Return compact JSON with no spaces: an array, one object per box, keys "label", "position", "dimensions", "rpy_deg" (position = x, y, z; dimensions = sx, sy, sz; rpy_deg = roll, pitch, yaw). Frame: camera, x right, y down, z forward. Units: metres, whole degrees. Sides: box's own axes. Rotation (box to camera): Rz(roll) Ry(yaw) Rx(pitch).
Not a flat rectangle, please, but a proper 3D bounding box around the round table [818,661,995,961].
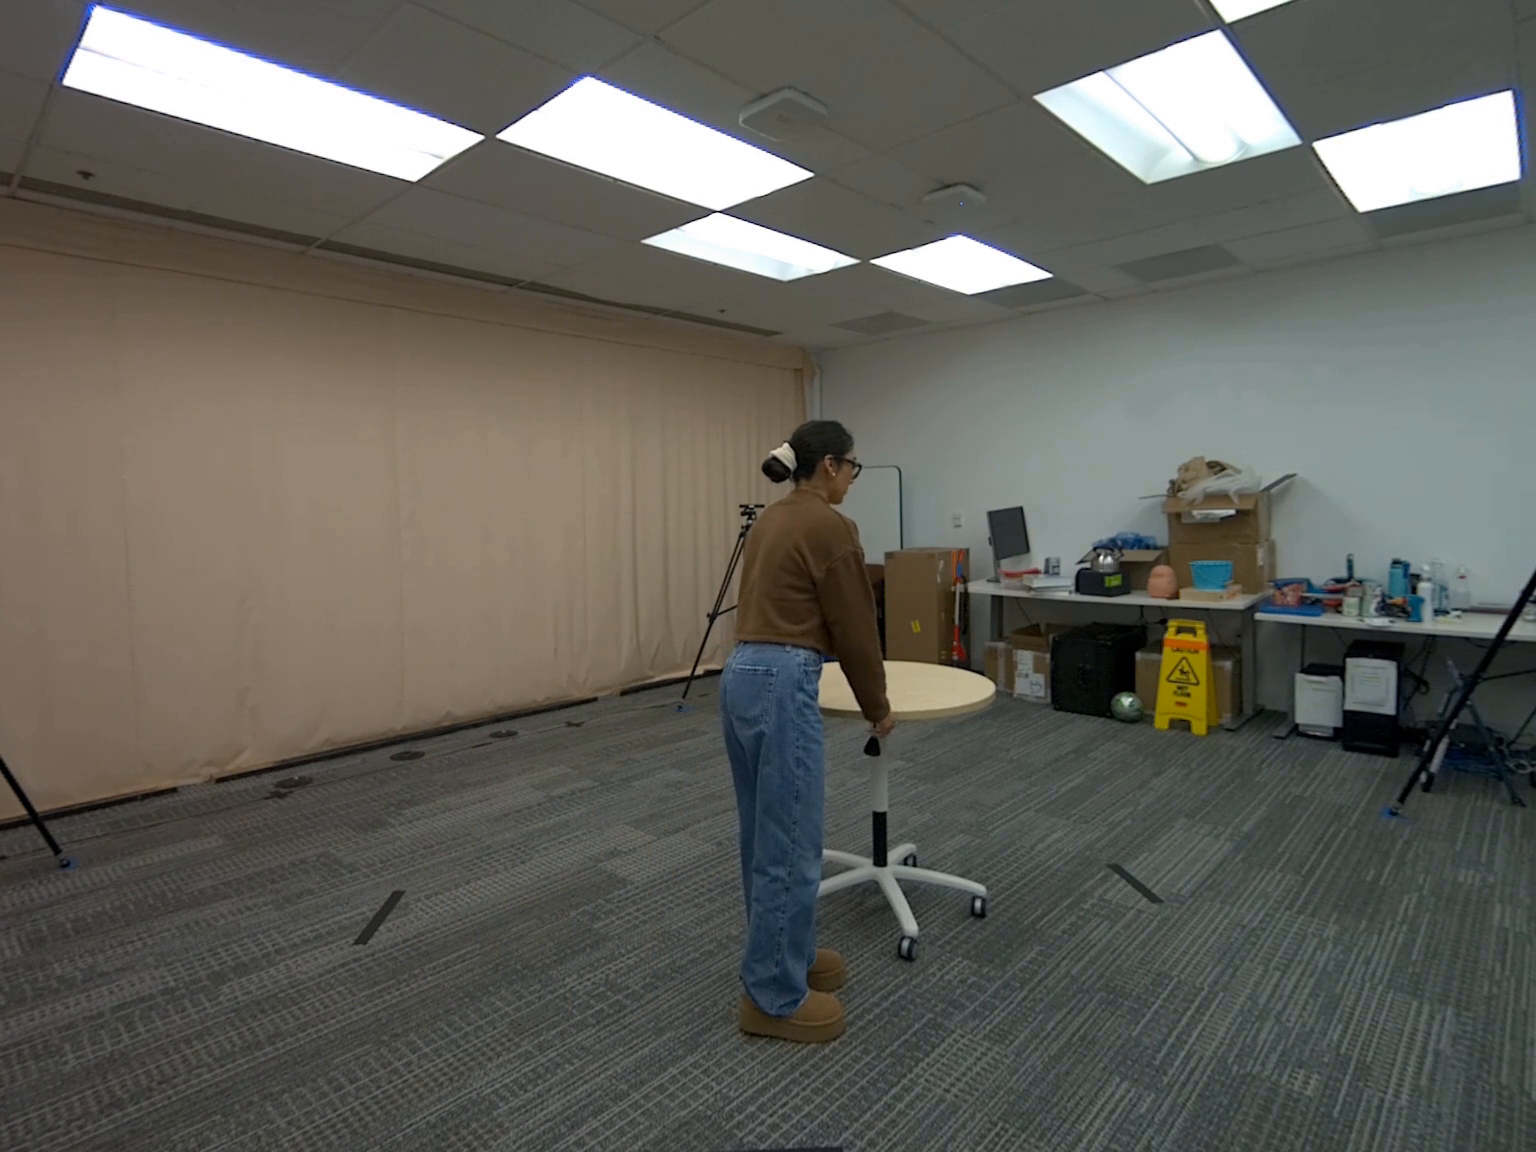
[{"label":"round table","position":[0.392,0.754,2.886],"dimensions":[0.763,0.792,0.767],"rpy_deg":[-1,4,-2]}]
